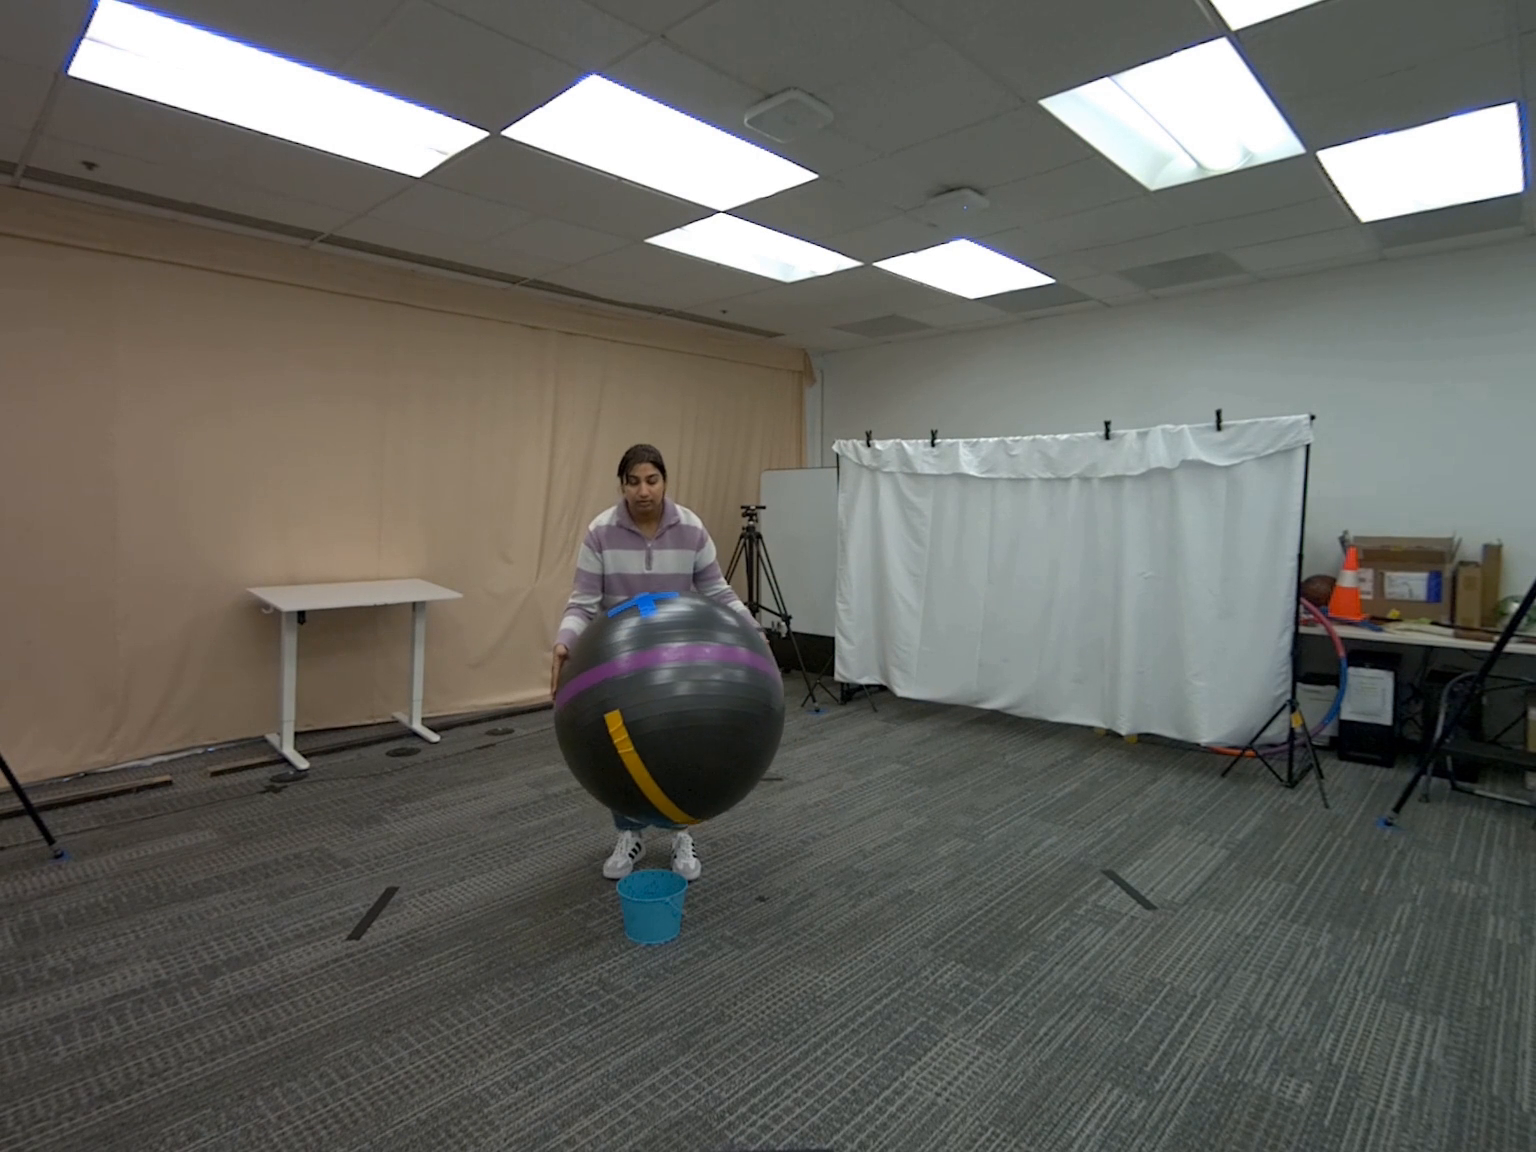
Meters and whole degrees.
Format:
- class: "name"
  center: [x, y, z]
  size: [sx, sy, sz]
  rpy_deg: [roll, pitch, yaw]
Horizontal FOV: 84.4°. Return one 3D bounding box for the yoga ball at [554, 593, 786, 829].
- class: "yoga ball"
  center: [-0.324, 0.434, 2.773]
  size: [0.757, 0.756, 0.760]
  rpy_deg: [0, 4, -2]
